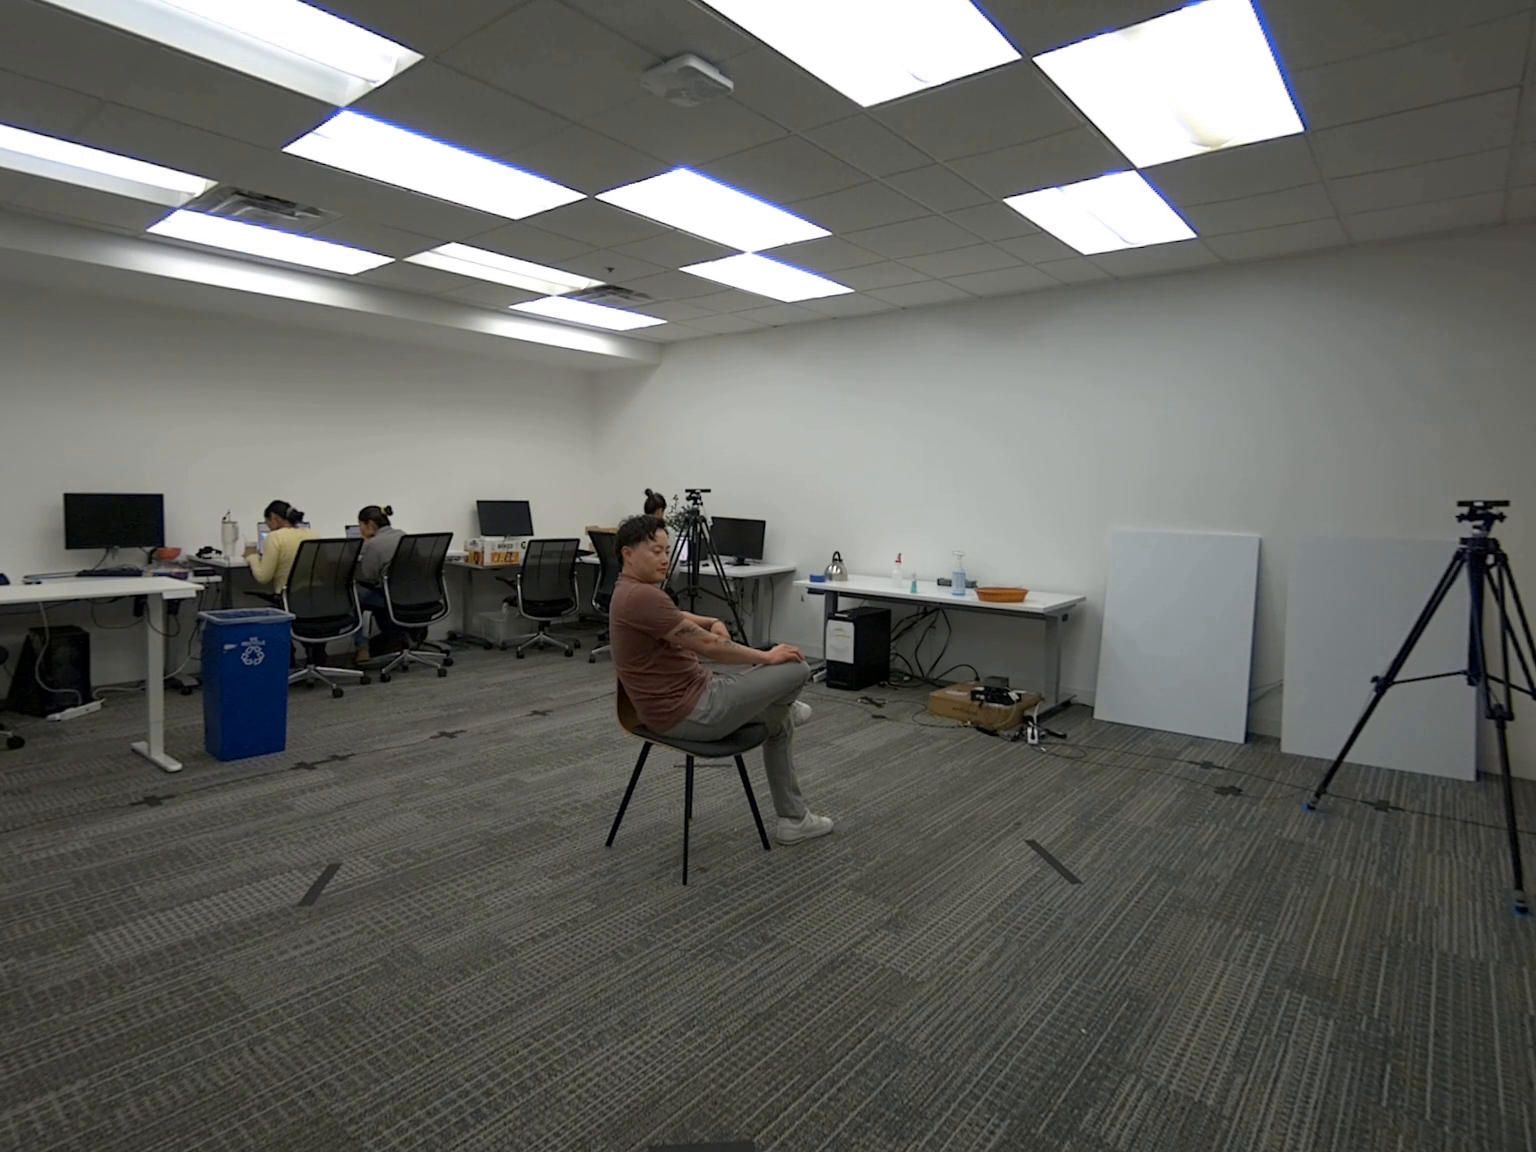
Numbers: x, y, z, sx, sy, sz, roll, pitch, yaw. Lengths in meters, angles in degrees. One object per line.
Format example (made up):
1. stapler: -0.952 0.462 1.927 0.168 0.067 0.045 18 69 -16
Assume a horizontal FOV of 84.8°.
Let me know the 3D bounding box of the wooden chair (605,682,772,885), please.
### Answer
1. wooden chair: -0.308 0.631 3.268 0.539 0.877 0.463 -2 0 44
